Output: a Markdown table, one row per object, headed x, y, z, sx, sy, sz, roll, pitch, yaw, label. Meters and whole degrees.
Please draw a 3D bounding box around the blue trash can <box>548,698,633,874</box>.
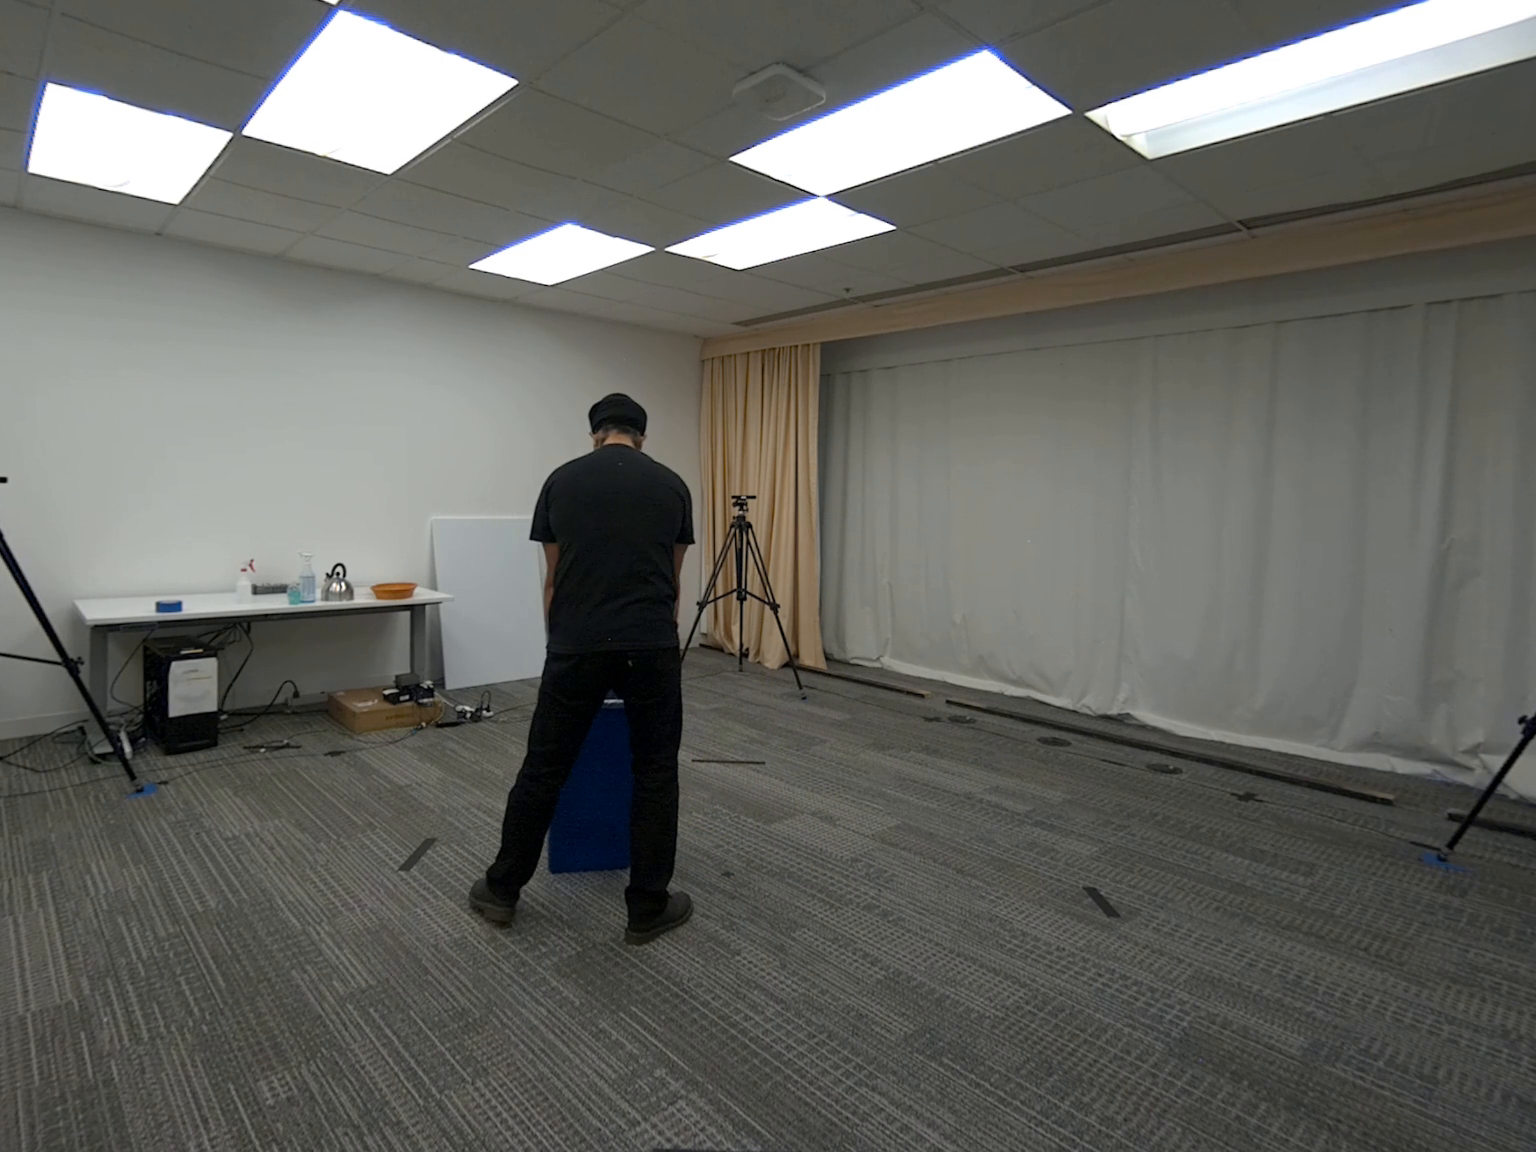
| x | y | z | sx | sy | sz | roll | pitch | yaw | label |
| --- | --- | --- | --- | --- | --- | --- | --- | --- | --- |
| -0.653 | 0.710 | 3.128 | 0.373 | 0.706 | 0.382 | 1 | 17 | -15 | blue trash can |
